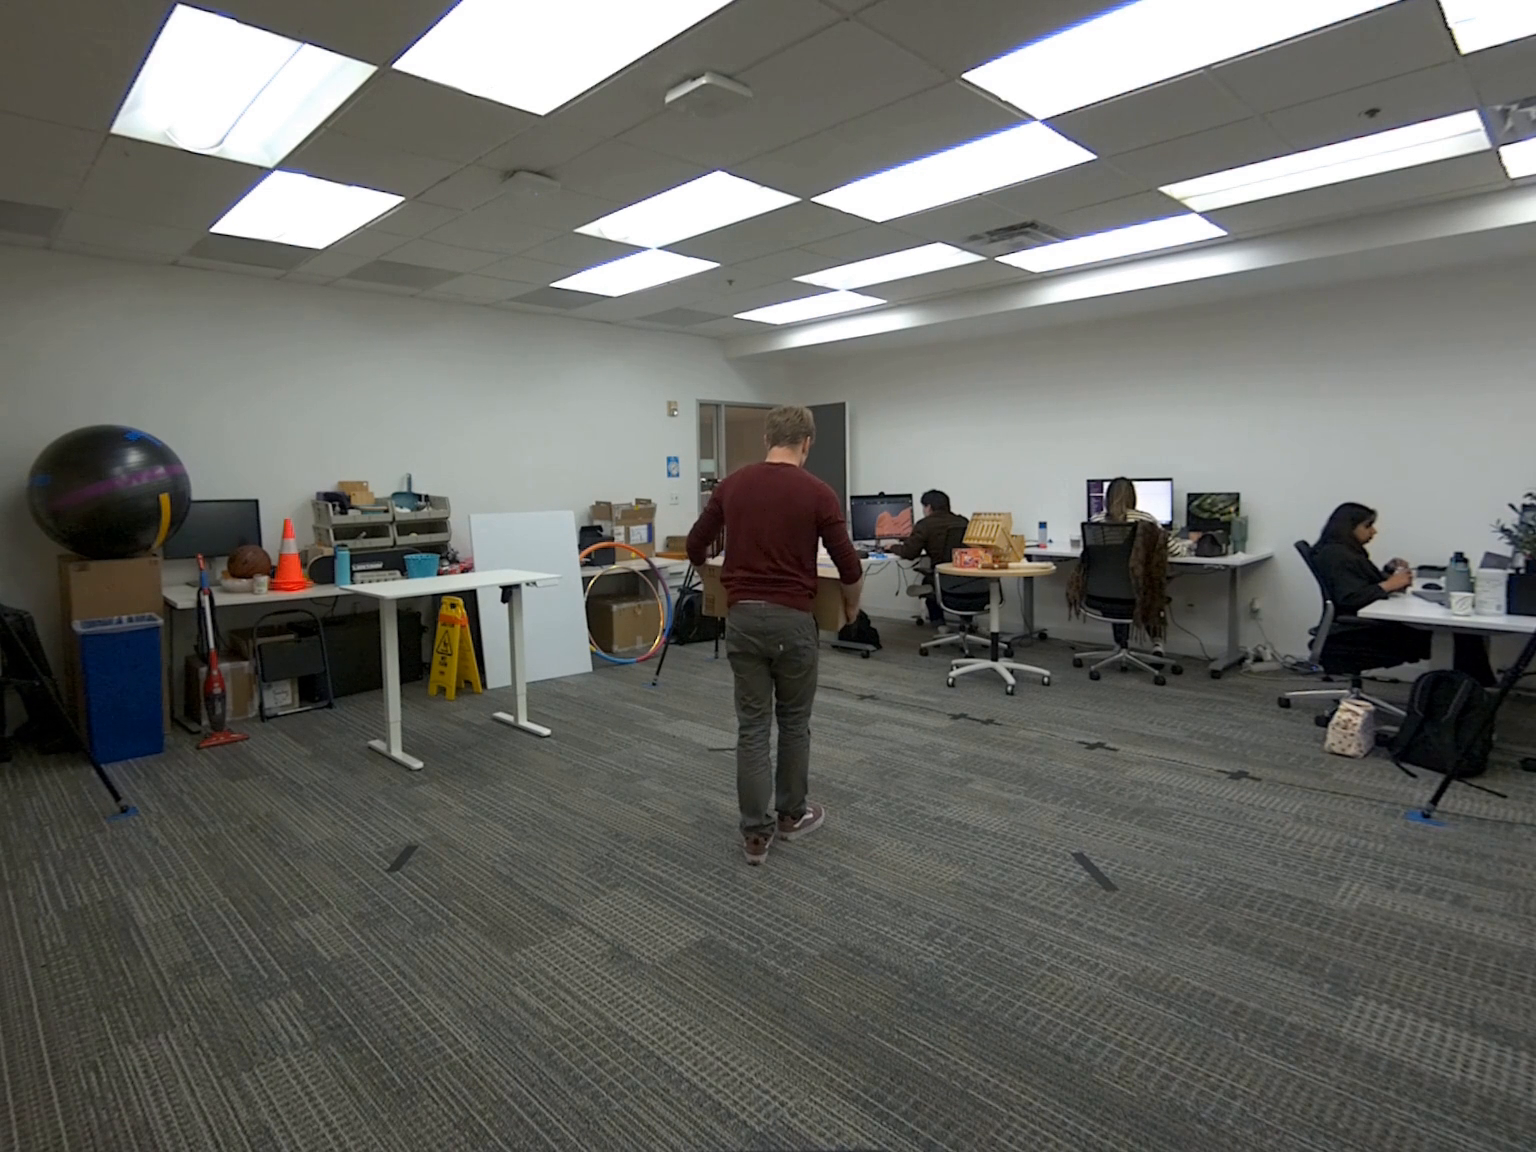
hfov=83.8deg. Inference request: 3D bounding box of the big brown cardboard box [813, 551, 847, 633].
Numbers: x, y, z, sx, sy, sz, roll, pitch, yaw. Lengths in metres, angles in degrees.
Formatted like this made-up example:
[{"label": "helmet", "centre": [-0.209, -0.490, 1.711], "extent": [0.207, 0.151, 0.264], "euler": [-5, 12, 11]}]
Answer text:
[{"label": "big brown cardboard box", "centre": [0.080, 0.046, 3.565], "extent": [0.598, 0.231, 0.415], "euler": [7, 11, 13]}]
